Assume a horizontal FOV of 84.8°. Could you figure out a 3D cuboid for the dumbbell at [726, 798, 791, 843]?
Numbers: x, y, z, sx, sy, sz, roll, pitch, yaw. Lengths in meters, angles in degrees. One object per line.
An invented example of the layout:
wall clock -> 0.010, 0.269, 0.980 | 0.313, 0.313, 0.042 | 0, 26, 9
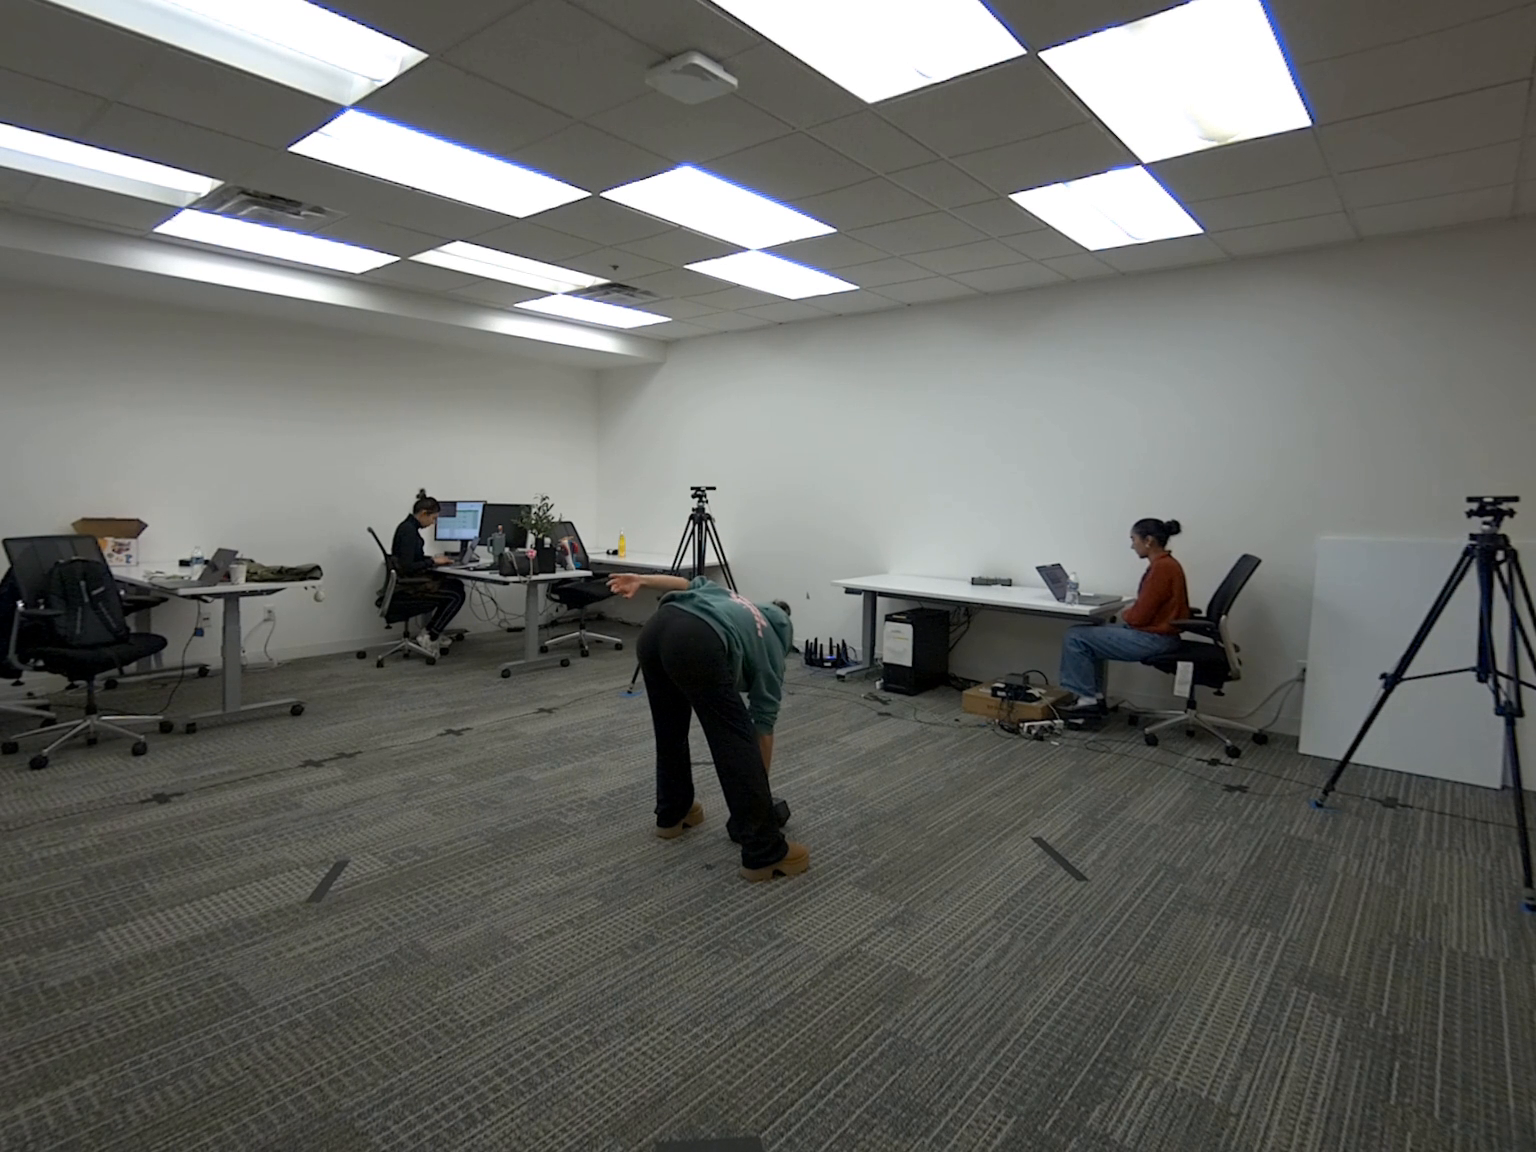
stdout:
dumbbell -> -0.046, 0.976, 3.432 | 0.127, 0.108, 0.285 | 5, 7, 39
